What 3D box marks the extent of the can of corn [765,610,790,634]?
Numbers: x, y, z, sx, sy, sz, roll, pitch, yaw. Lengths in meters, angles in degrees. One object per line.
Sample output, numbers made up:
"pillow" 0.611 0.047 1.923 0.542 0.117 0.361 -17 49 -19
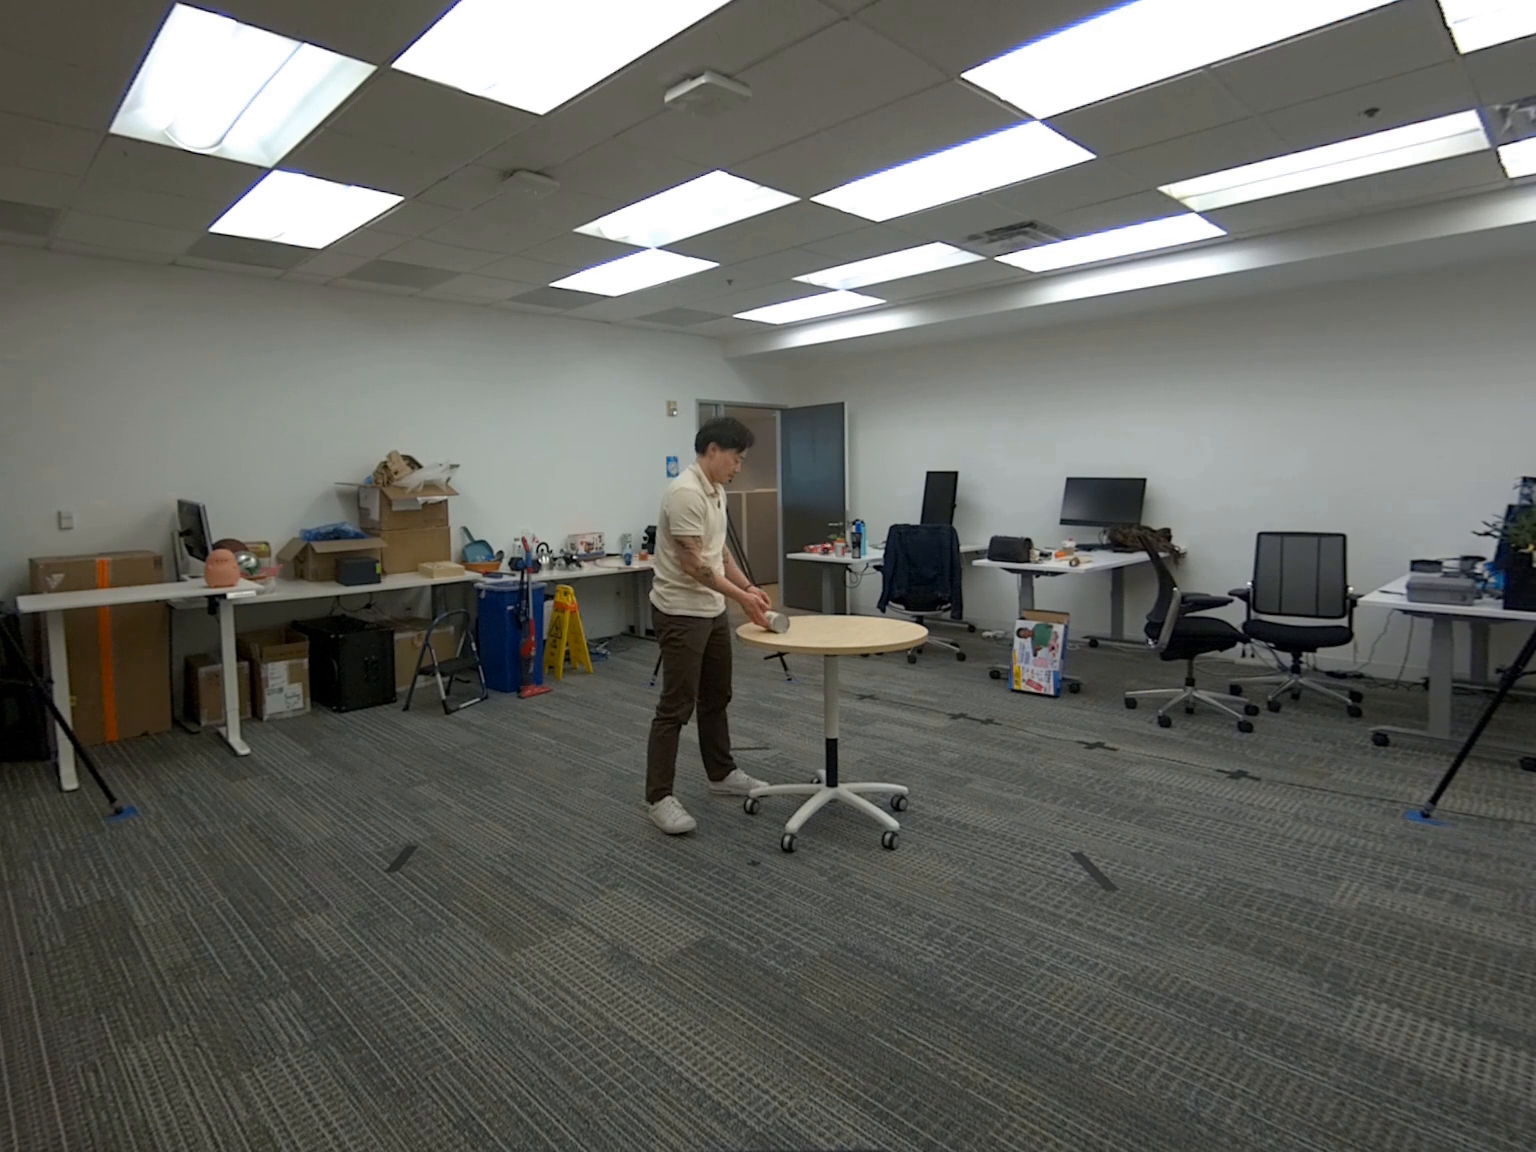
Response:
"can of corn" 0.021 0.185 3.427 0.072 0.074 0.114 -4 7 -34
